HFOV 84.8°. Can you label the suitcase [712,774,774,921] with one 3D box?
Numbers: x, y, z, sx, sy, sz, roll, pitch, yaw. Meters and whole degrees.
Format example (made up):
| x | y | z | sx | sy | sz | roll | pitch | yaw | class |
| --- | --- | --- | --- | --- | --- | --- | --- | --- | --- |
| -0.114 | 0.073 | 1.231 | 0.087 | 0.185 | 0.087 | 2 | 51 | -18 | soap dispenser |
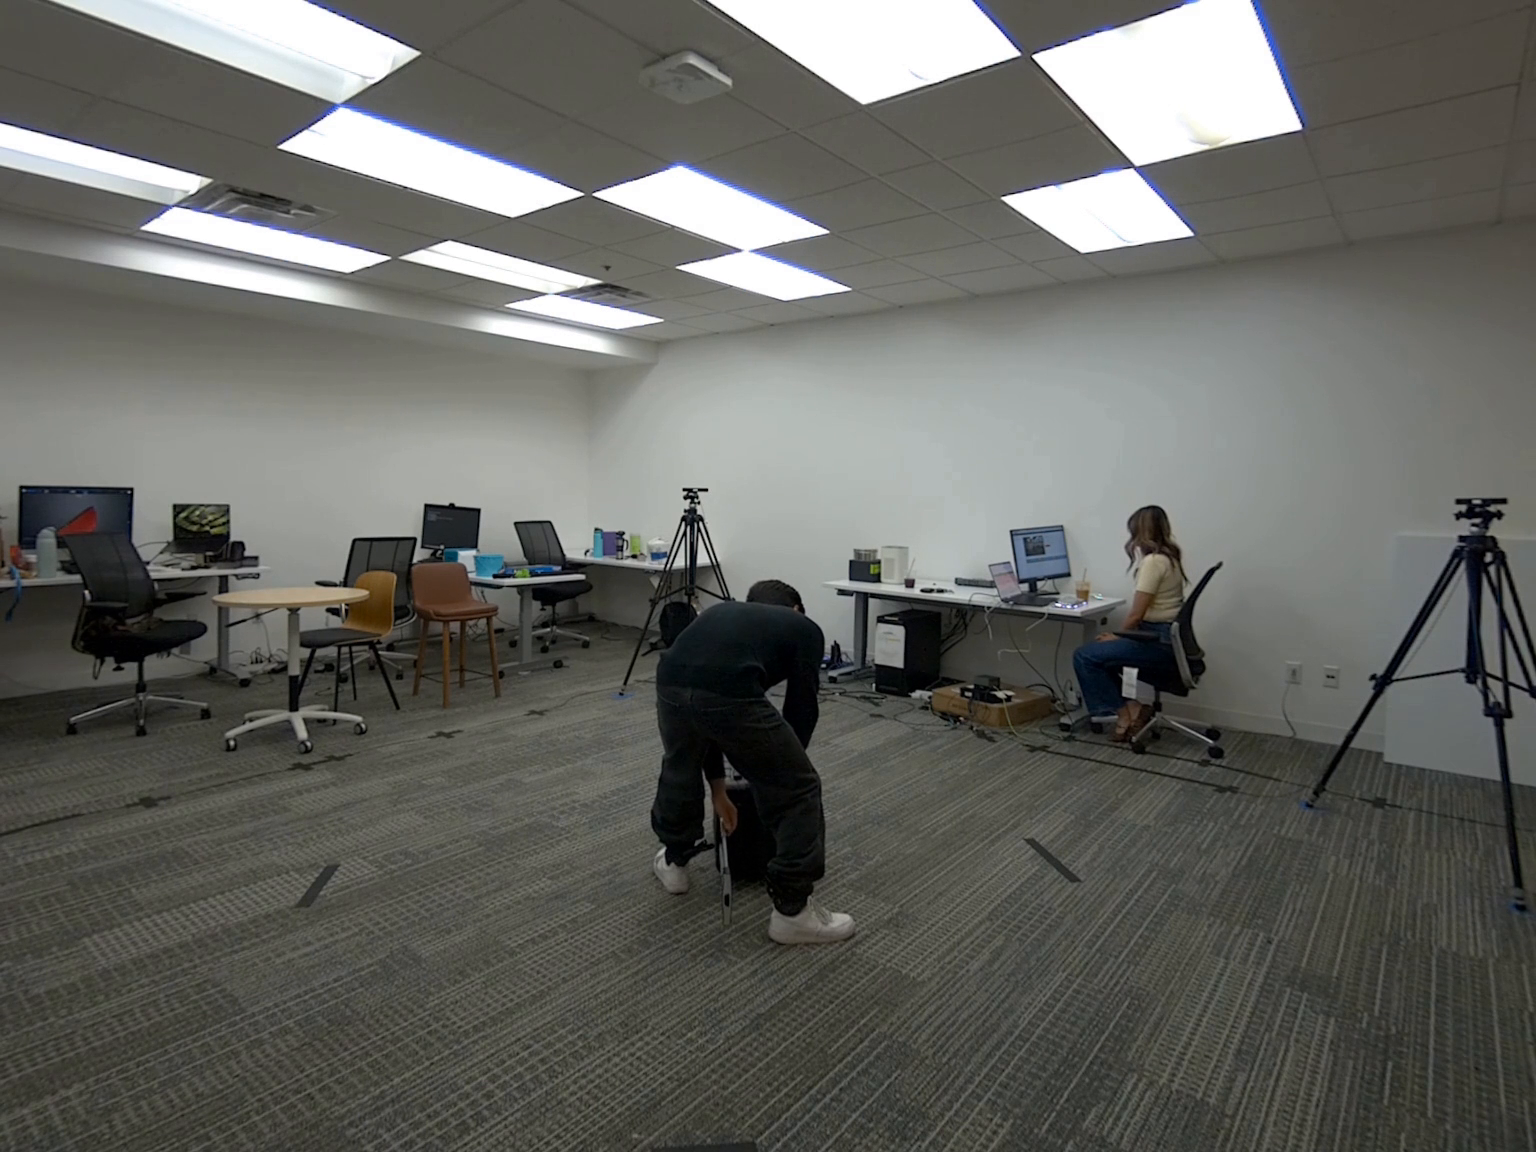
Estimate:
| x | y | z | sx | sy | sz | roll | pitch | yaw | class |
| --- | --- | --- | --- | --- | --- | --- | --- | --- | --- |
| -0.071 | 0.886 | 3.014 | 0.256 | 0.383 | 0.985 | 0 | 4 | -5 | suitcase |
